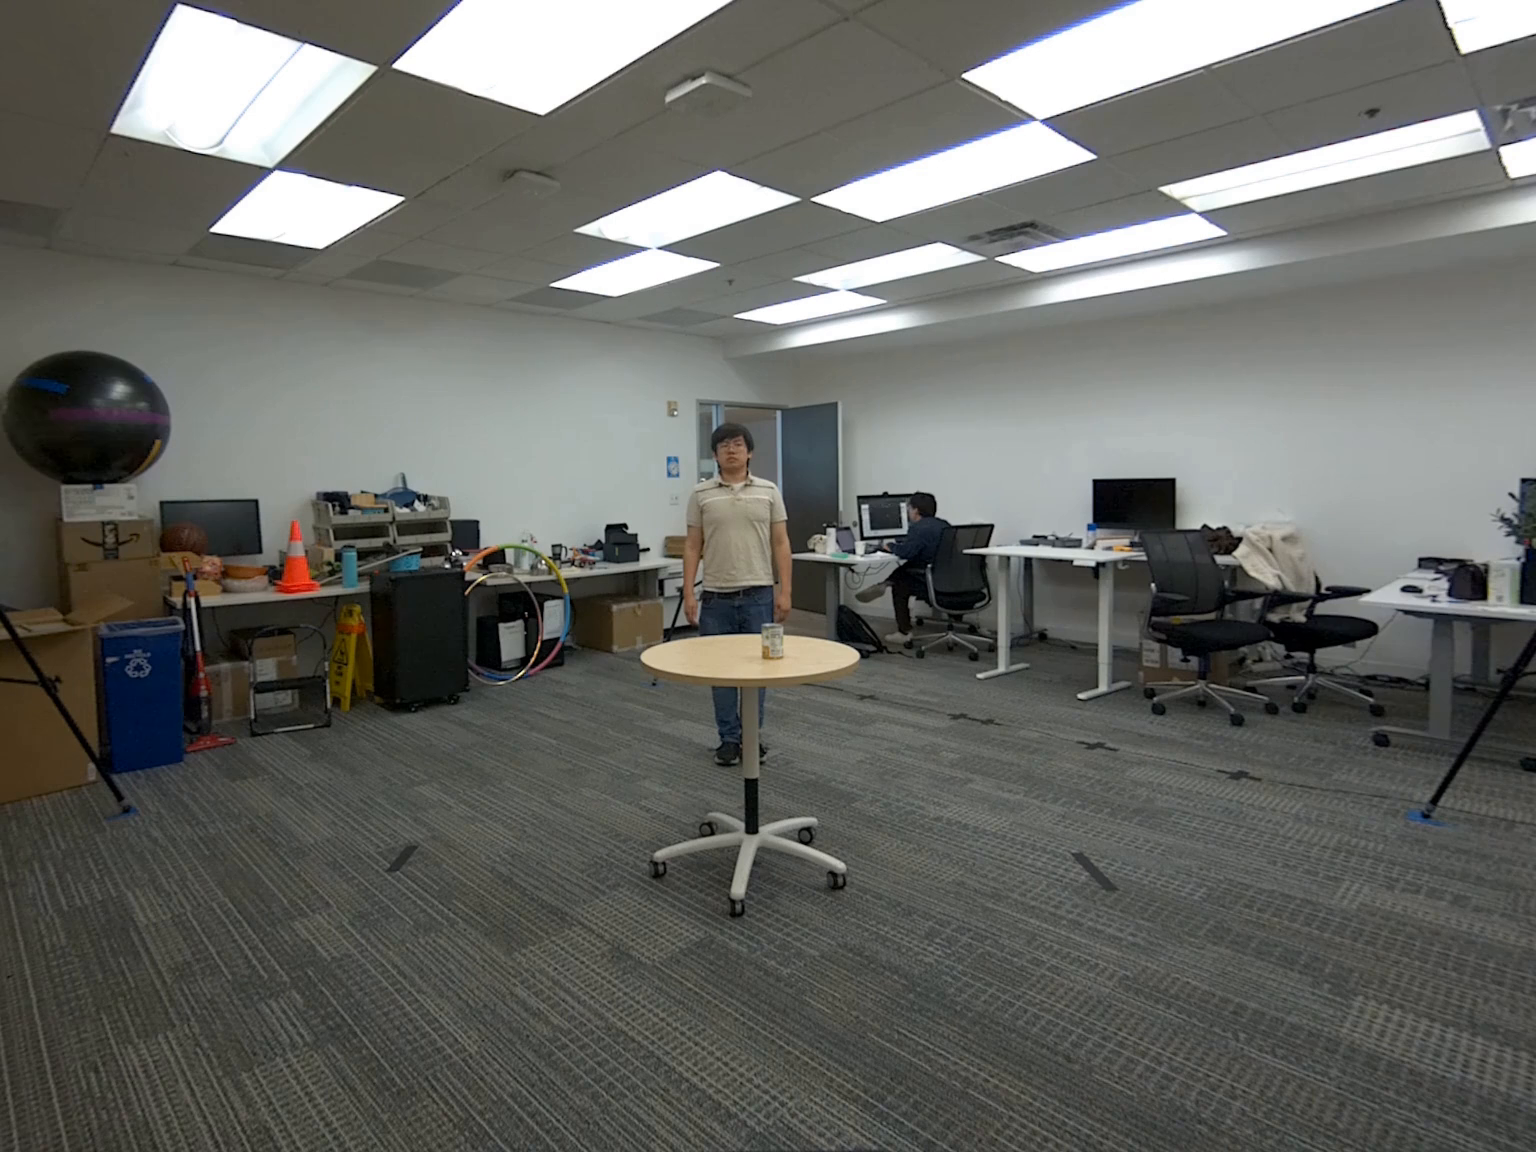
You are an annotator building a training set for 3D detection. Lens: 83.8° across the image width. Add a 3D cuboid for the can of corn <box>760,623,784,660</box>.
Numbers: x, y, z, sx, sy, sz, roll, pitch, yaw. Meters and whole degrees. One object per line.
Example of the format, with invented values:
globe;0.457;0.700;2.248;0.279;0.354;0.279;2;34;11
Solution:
can of corn;0.016;0.229;2.925;0.074;0.110;0.074;-3;5;-1
